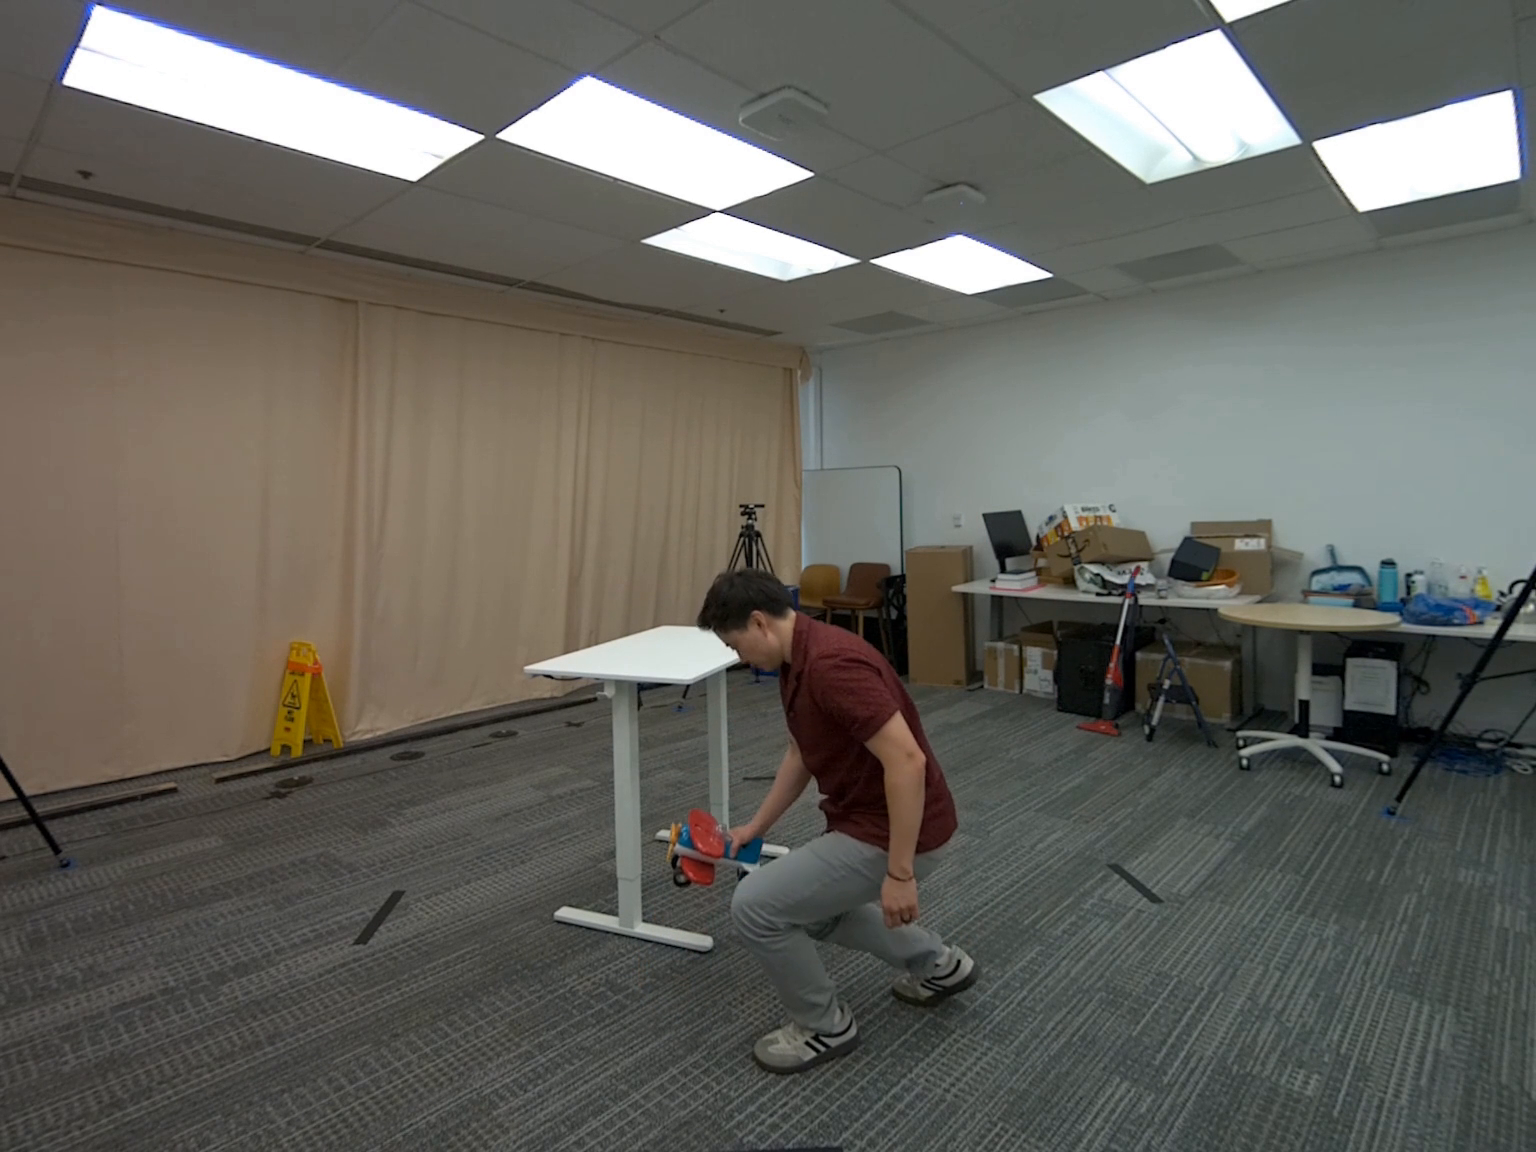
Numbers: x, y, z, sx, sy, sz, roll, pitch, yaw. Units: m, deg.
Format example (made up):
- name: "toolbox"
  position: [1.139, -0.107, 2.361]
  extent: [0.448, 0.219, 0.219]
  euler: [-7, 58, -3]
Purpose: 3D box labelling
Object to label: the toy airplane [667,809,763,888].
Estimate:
- name: "toy airplane"
  position: [-0.144, 0.765, 2.315]
  extent: [0.251, 0.156, 0.260]
  euler: [1, 10, -34]
